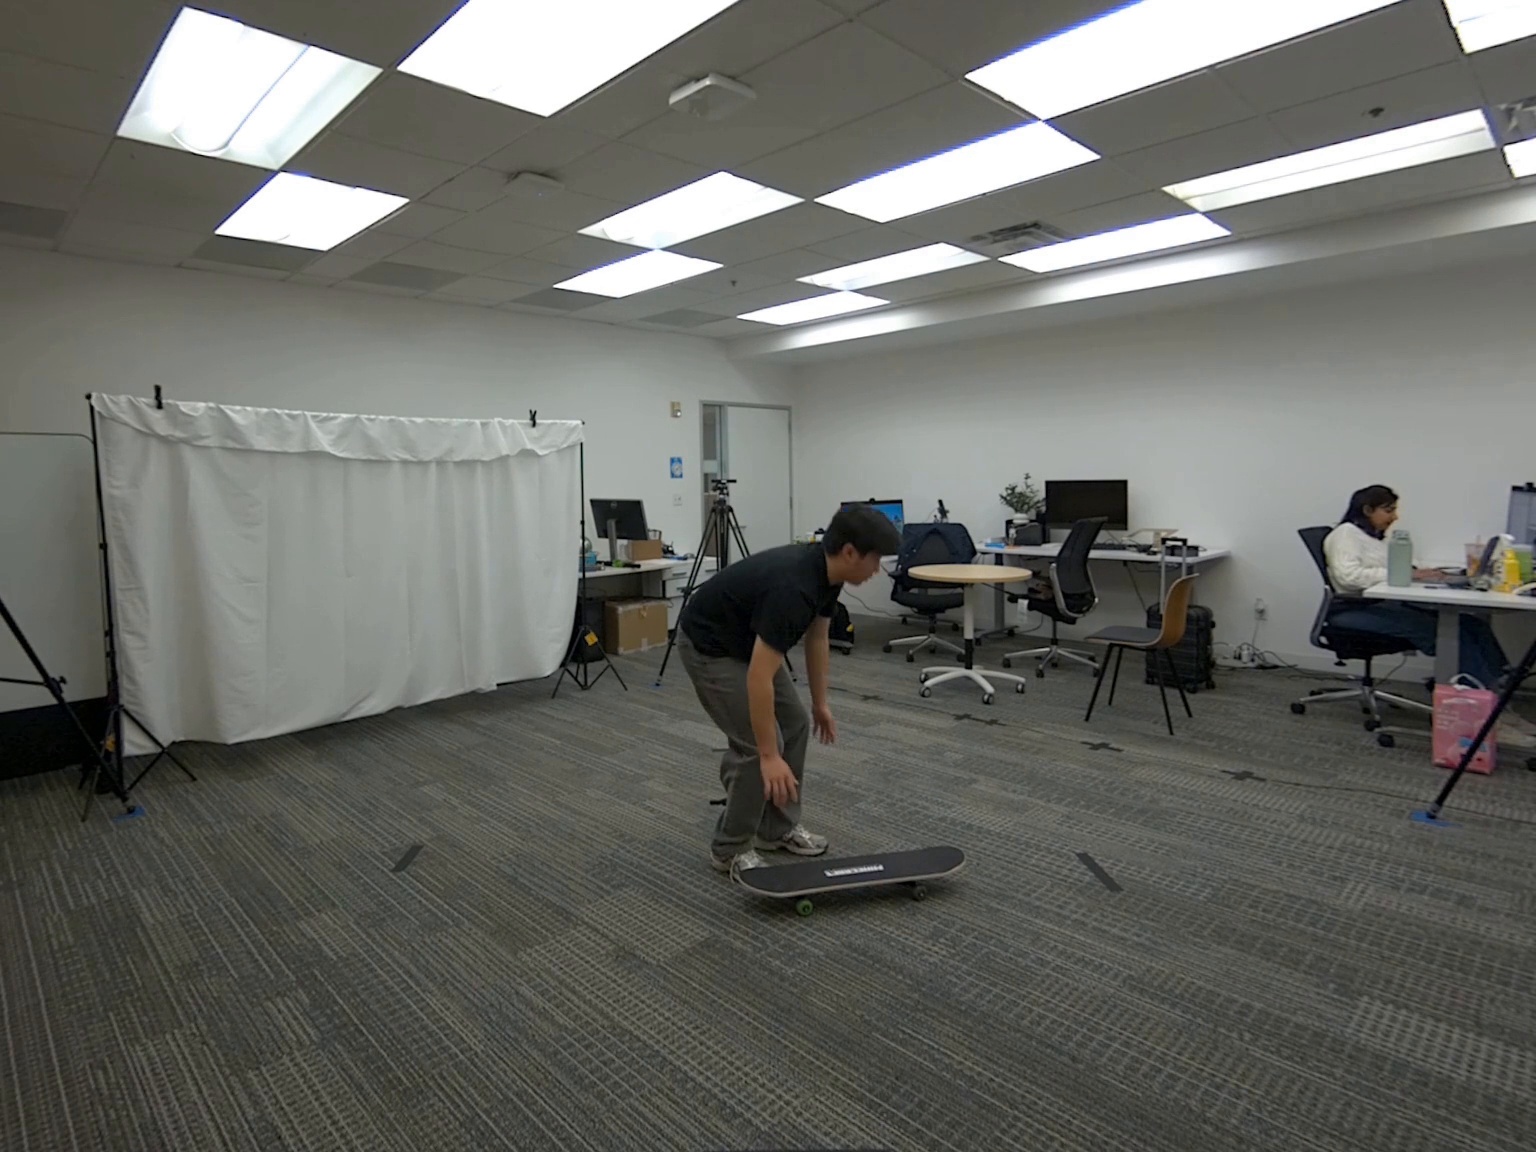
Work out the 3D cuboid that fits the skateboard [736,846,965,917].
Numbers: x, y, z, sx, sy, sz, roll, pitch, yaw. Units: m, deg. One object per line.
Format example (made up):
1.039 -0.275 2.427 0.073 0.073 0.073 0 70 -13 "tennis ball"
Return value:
0.284 1.004 2.855 0.776 0.110 0.197 -3 6 -12 "skateboard"
